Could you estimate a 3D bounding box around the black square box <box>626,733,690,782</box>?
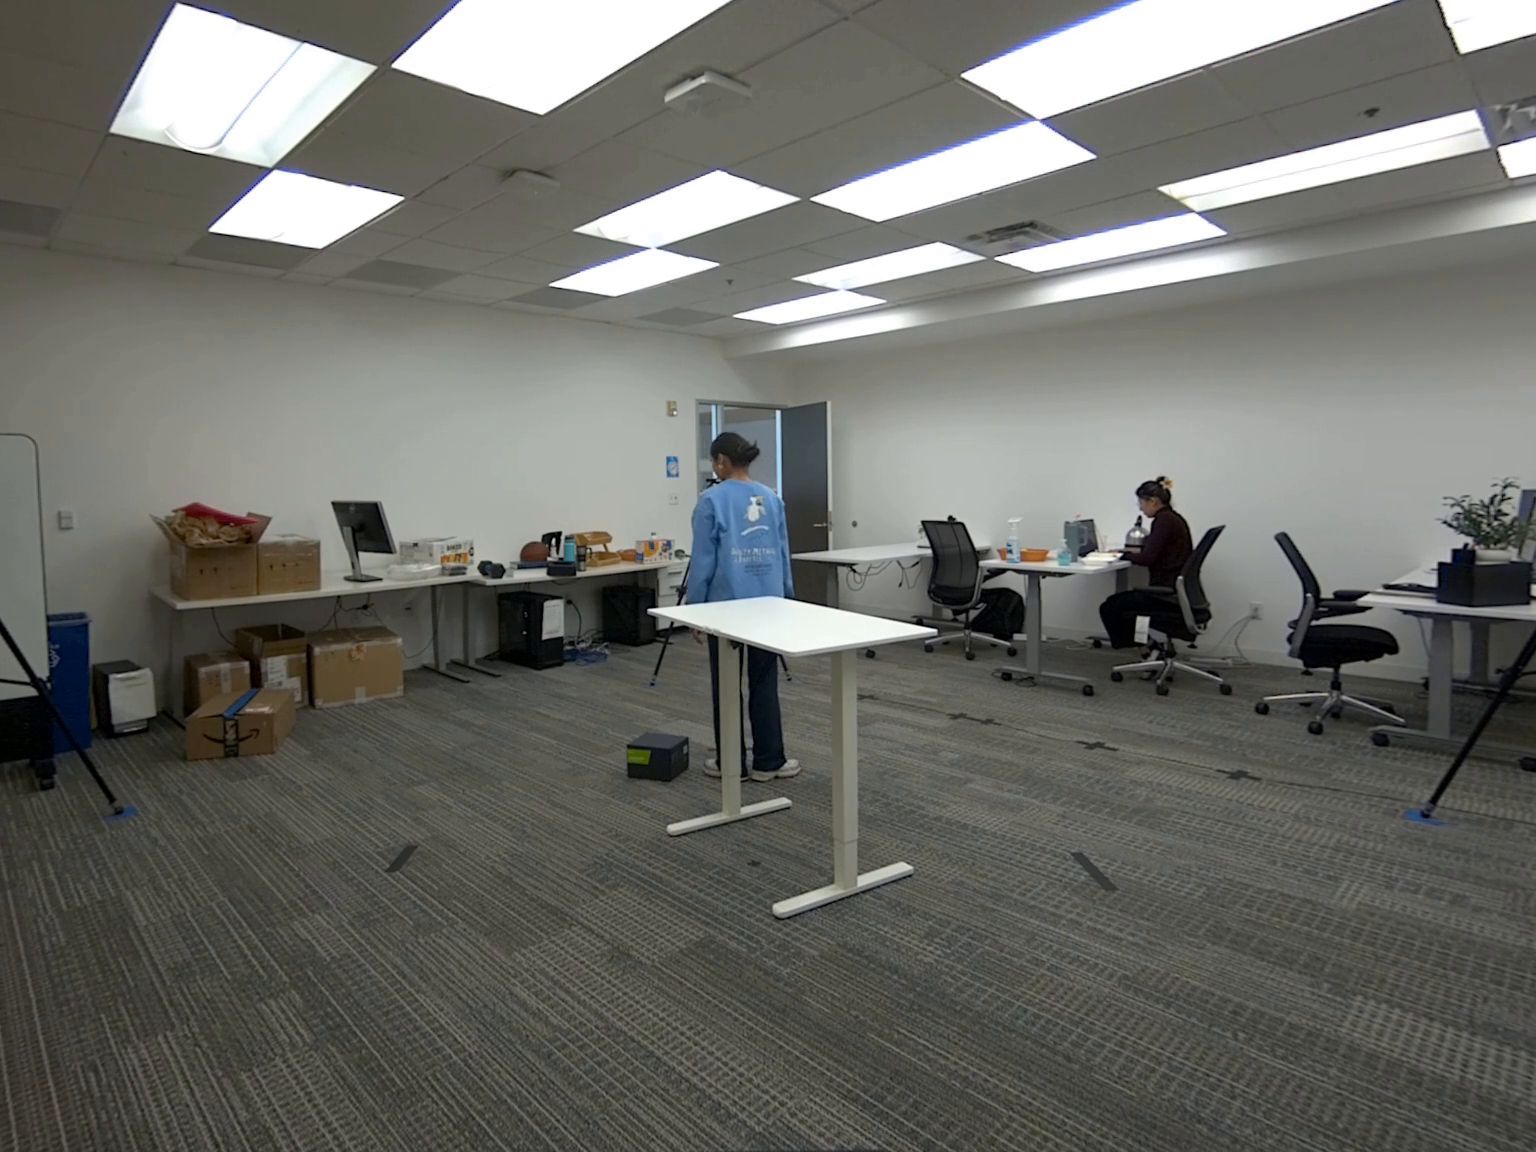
[{"bbox_3d":[-0.527,0.861,4.097,0.232,0.155,0.214,1,5,20],"label":"black square box"}]
